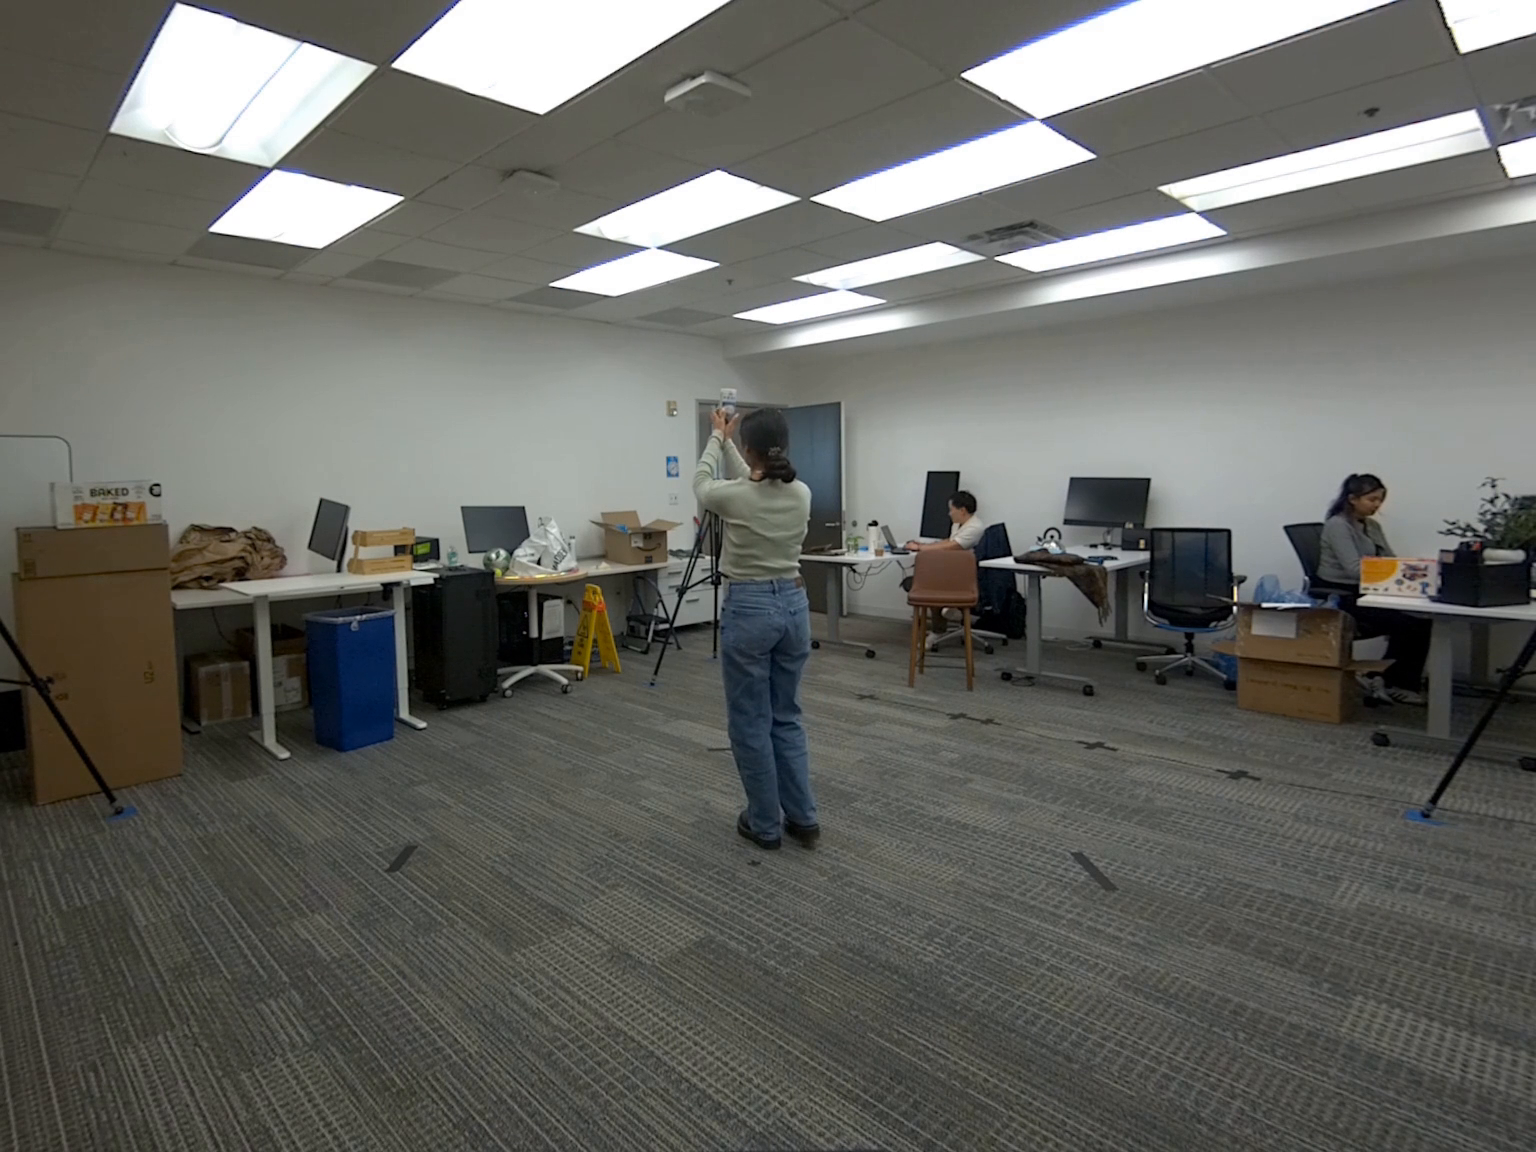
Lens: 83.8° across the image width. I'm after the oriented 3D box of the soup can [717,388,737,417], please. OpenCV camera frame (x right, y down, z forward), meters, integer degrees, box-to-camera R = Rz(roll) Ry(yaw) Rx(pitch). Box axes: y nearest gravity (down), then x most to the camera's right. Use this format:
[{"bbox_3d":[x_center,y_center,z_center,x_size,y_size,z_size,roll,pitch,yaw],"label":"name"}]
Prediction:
[{"bbox_3d":[-0.168,-0.708,3.510,0.067,0.121,0.067,3,6,-2],"label":"soup can"}]
